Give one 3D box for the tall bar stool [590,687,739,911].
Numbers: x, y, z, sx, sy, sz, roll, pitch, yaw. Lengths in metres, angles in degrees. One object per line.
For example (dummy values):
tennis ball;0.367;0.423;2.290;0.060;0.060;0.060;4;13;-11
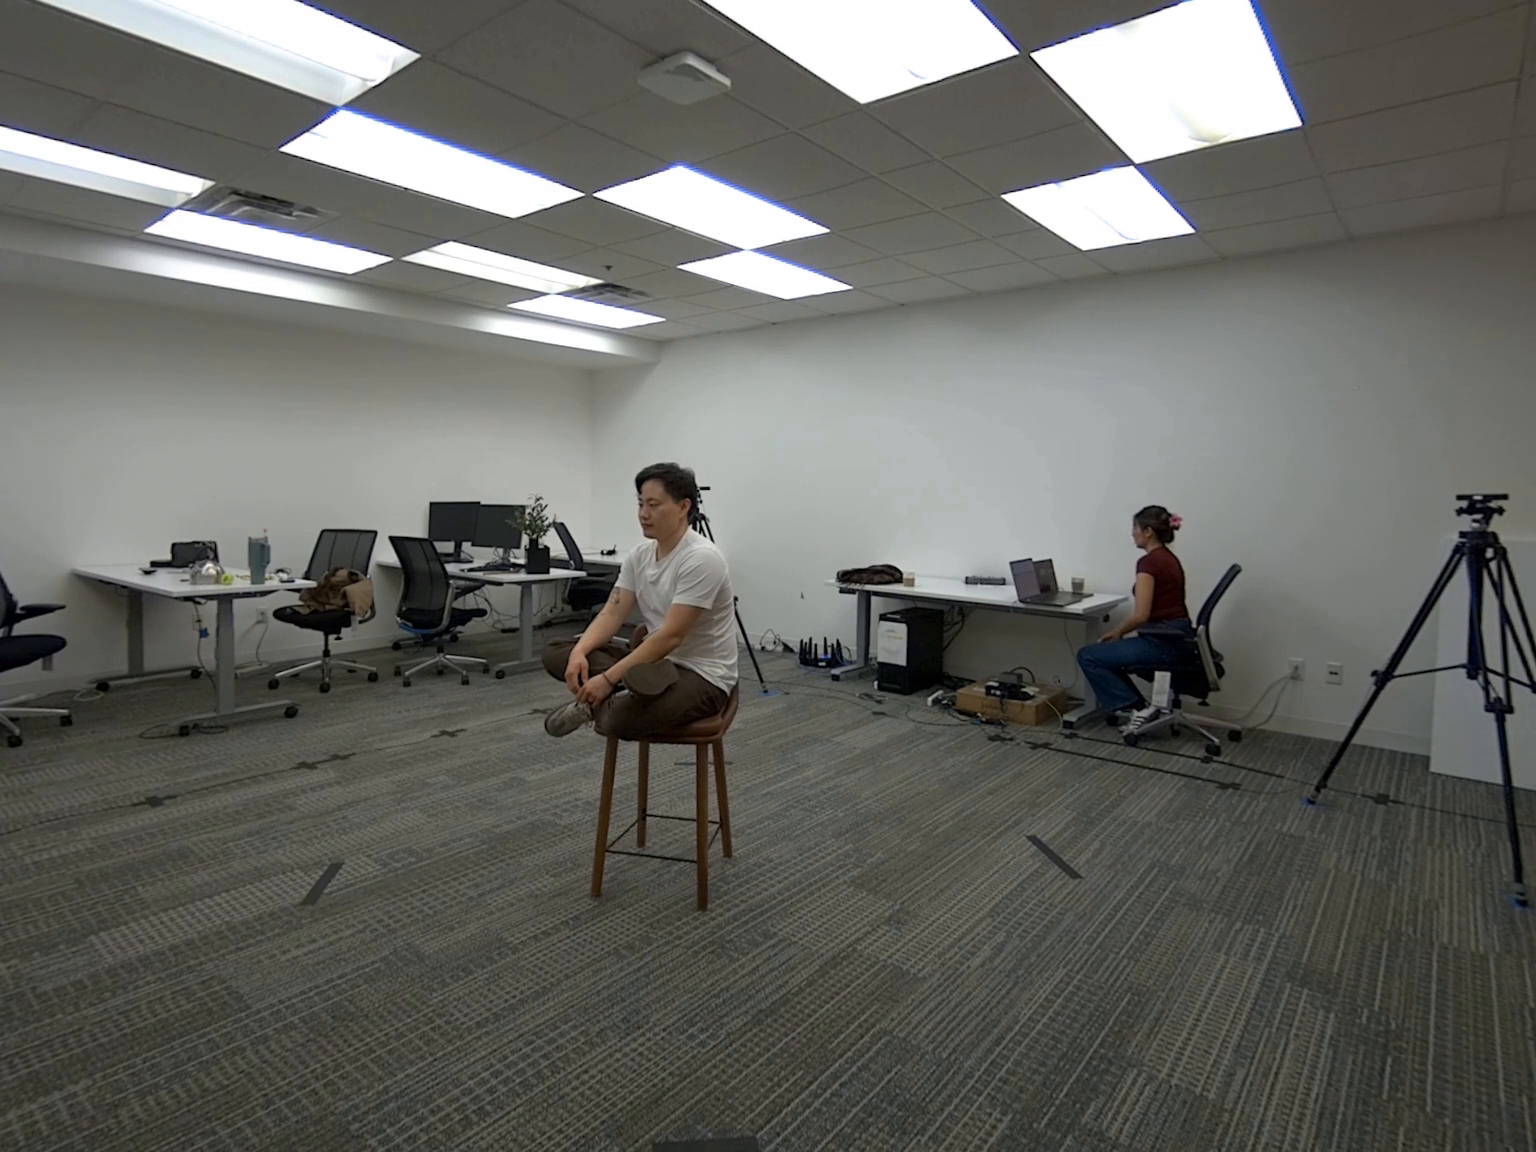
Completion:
tall bar stool;-0.362;0.639;3.043;0.464;0.889;0.460;1;1;14
